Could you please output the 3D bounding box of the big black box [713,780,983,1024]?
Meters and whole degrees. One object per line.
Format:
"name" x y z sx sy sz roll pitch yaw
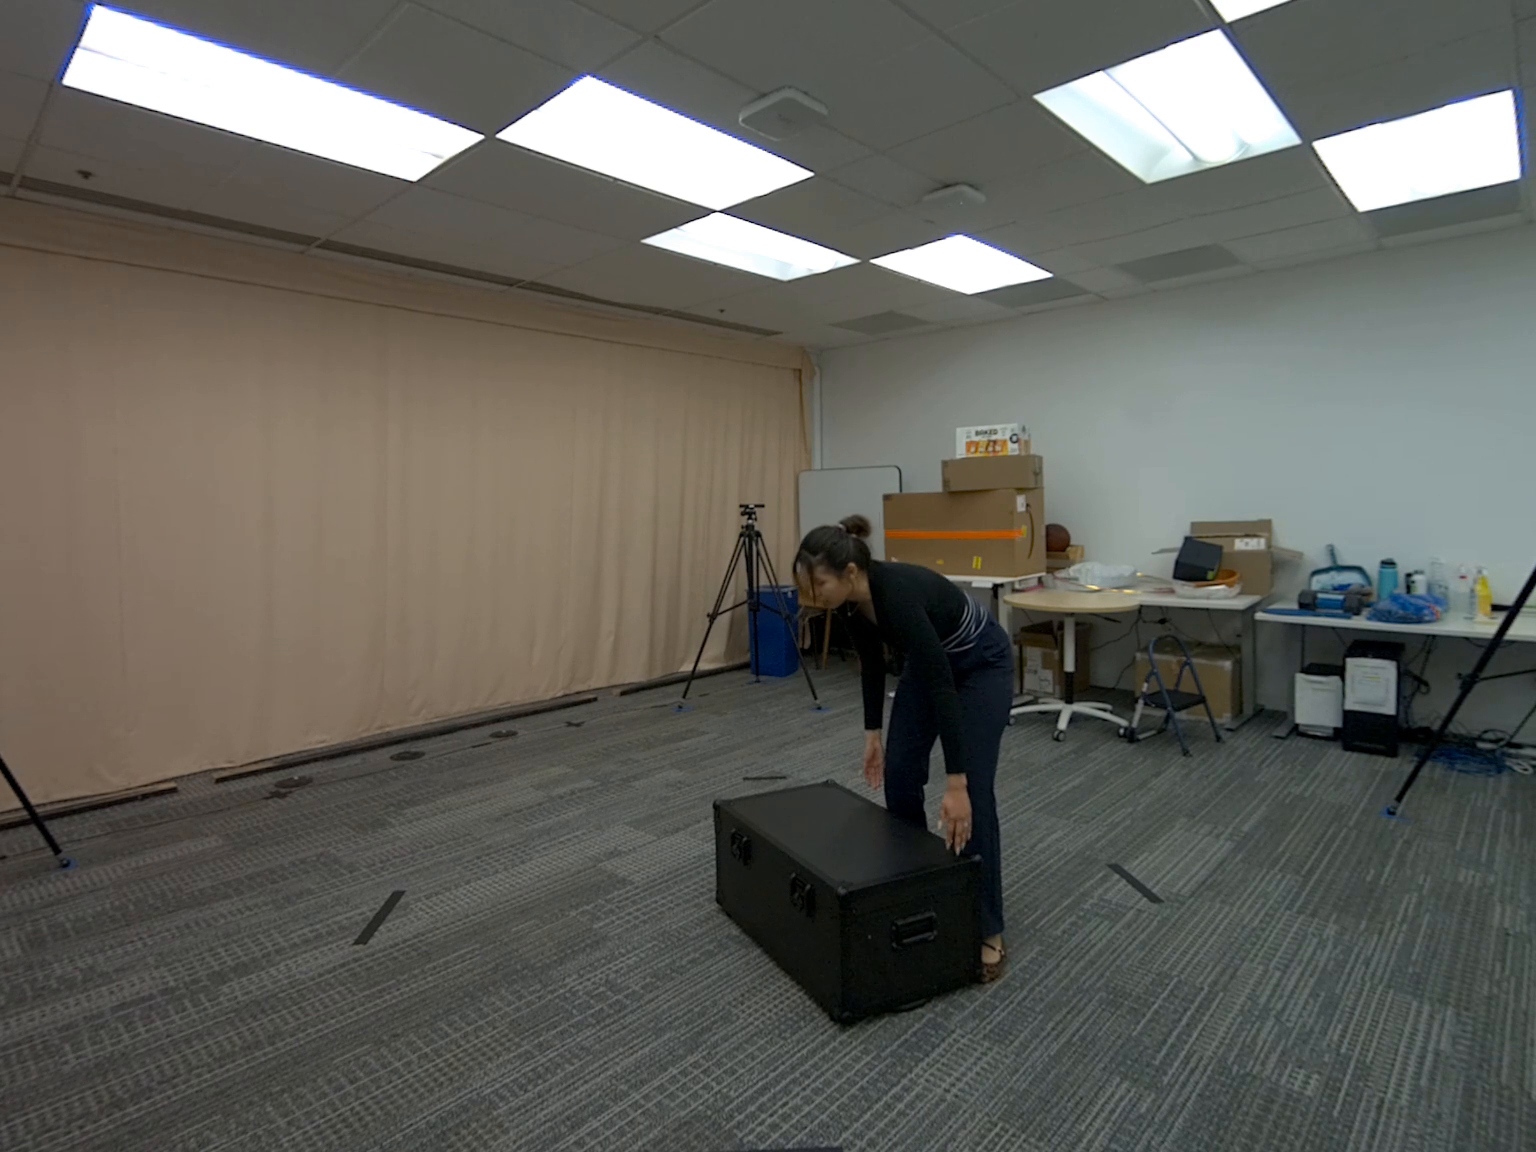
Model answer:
"big black box" 0.228 0.972 2.631 0.508 0.395 0.885 -3 4 -27
